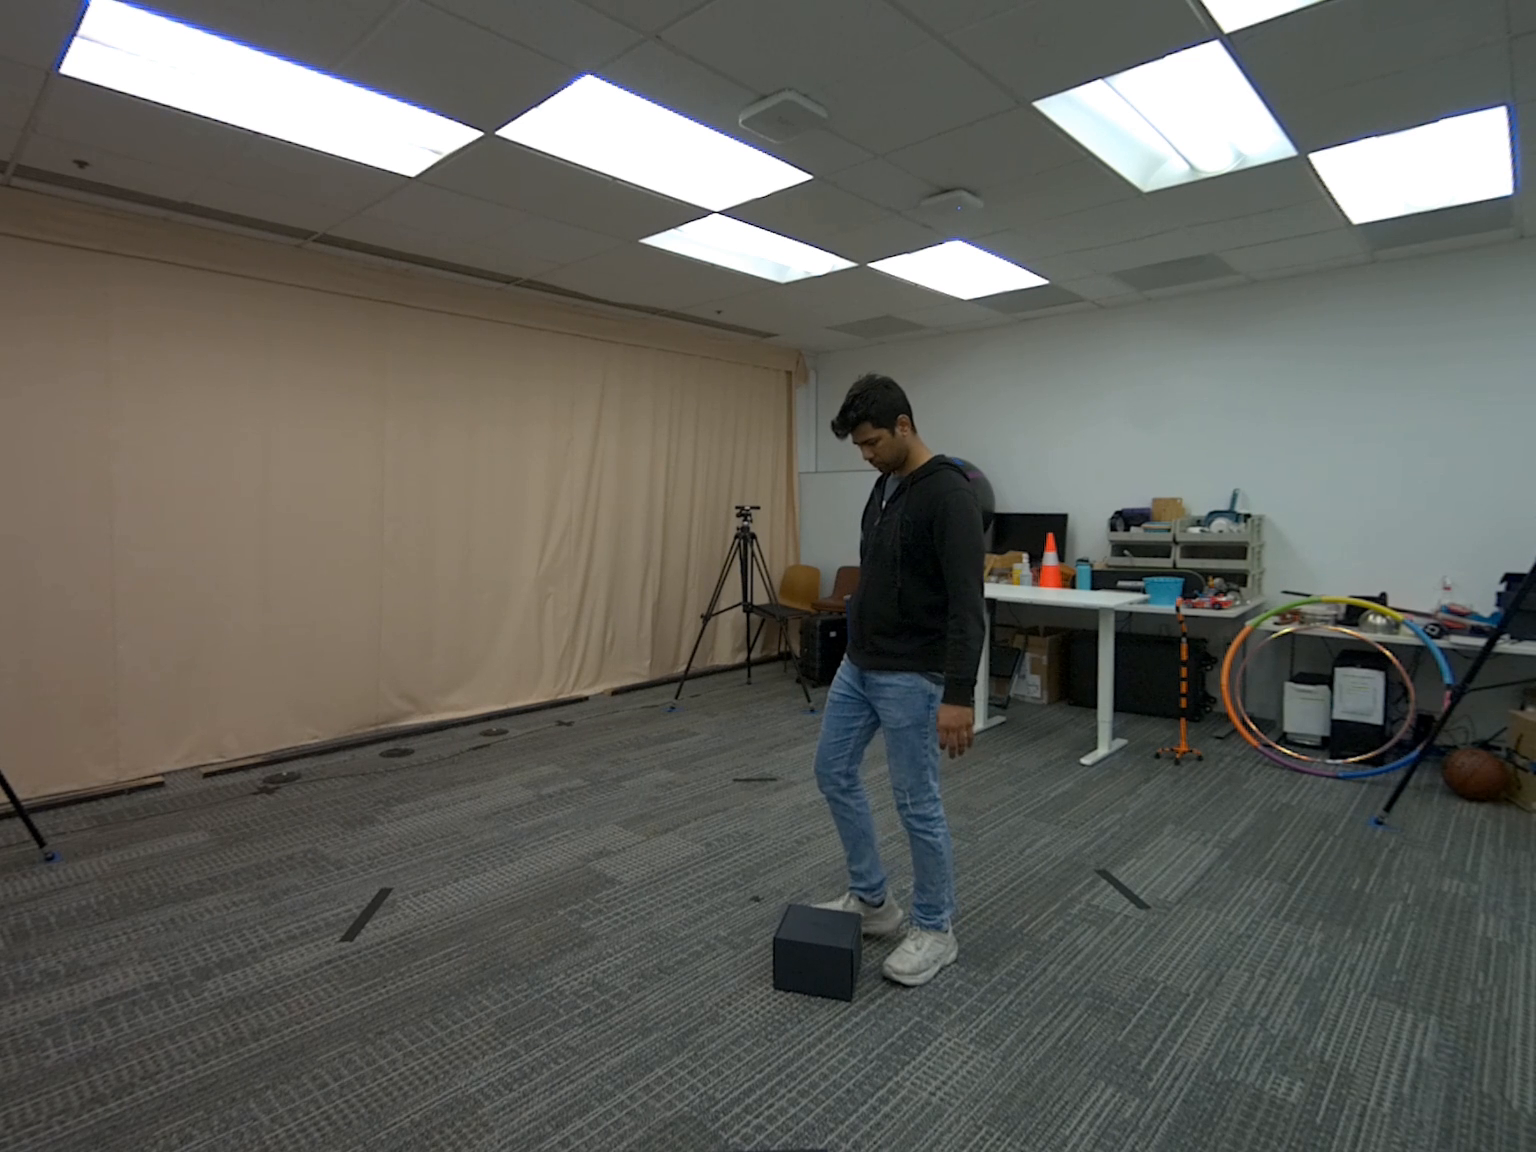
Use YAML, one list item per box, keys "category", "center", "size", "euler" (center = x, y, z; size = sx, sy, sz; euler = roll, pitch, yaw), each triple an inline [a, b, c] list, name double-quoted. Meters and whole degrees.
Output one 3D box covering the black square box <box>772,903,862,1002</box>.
- category: "black square box"
  center: [0.153, 1.107, 2.483]
  size: [0.232, 0.155, 0.214]
  euler: [1, 4, 15]
